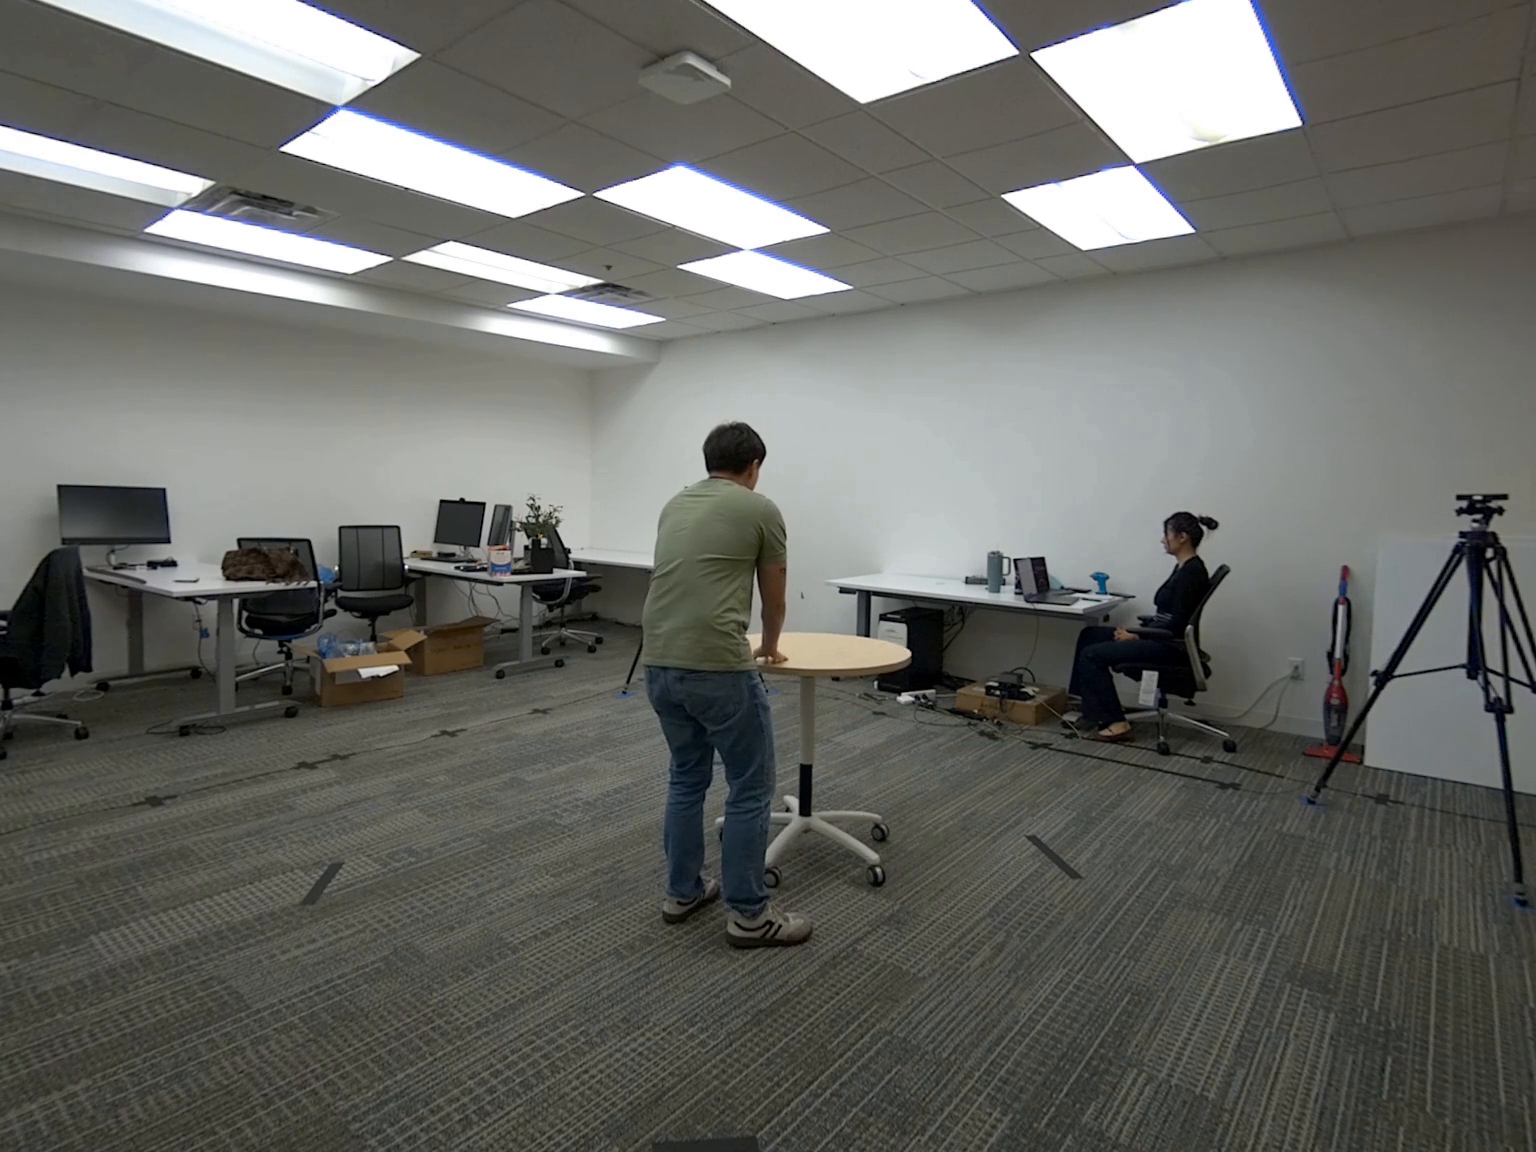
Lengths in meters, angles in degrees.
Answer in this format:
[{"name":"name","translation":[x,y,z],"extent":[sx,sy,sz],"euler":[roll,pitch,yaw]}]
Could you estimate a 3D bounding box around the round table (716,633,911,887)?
[{"name":"round table","translation":[0.138,0.667,3.254],"extent":[0.763,0.792,0.767],"euler":[1,3,-2]}]
